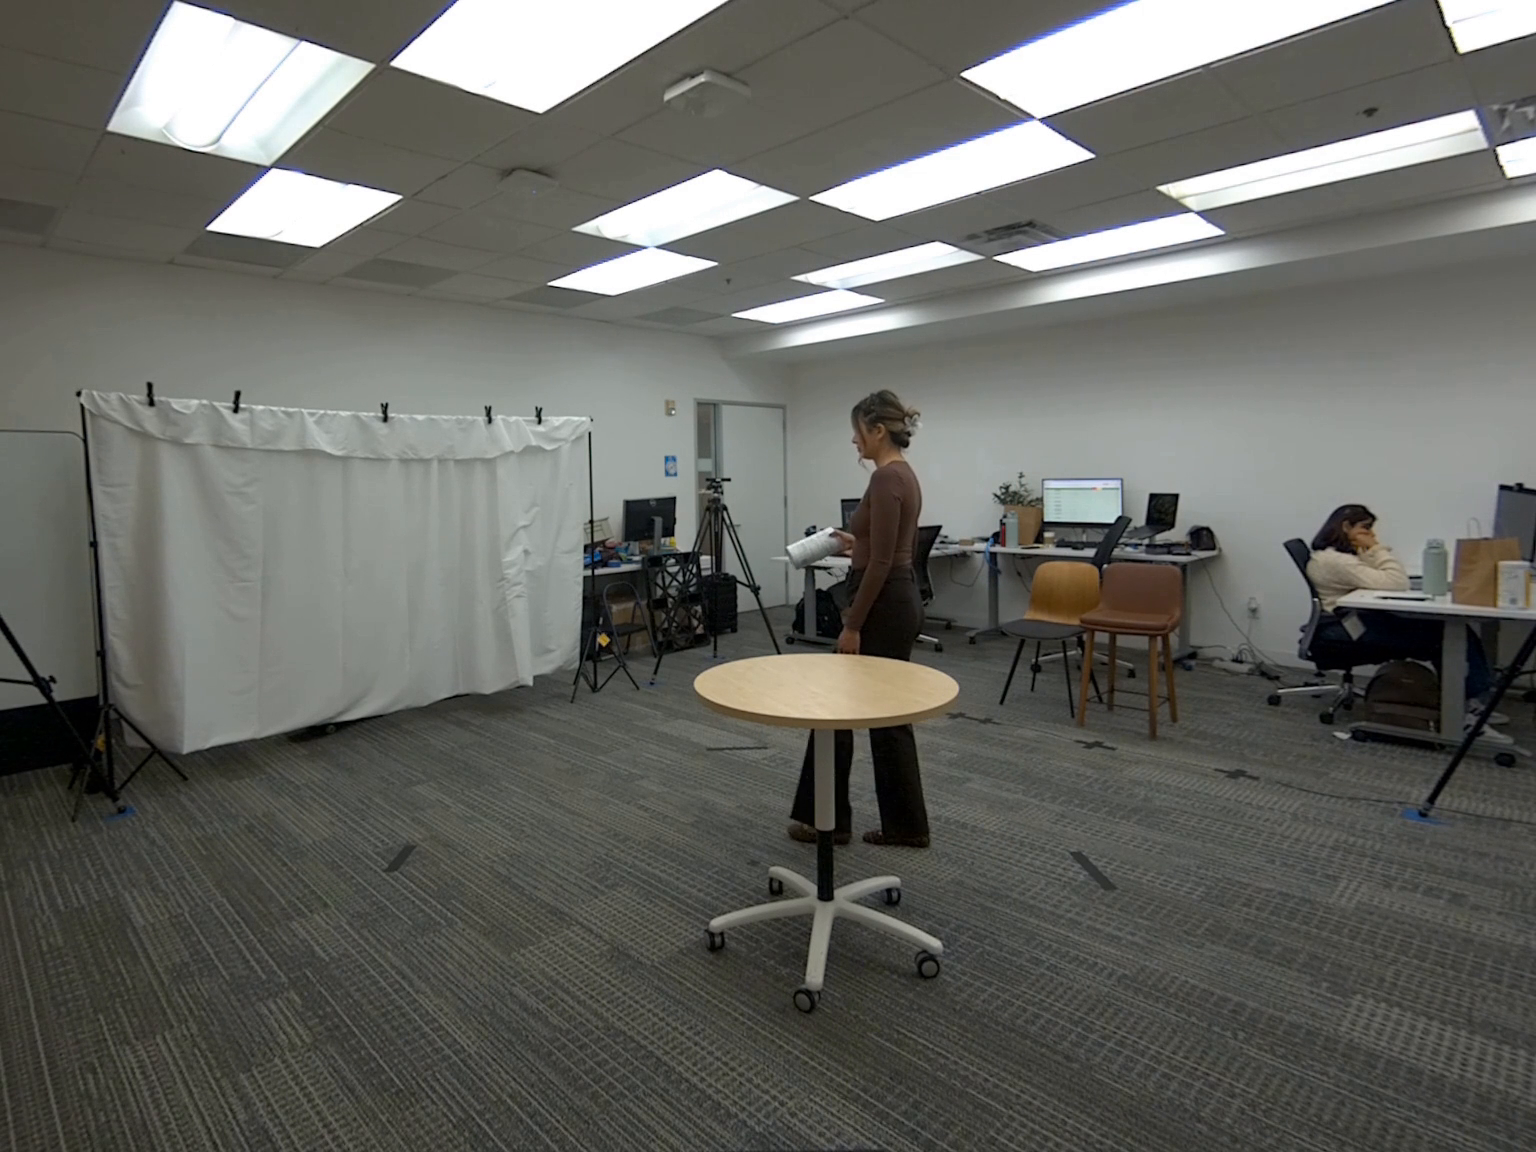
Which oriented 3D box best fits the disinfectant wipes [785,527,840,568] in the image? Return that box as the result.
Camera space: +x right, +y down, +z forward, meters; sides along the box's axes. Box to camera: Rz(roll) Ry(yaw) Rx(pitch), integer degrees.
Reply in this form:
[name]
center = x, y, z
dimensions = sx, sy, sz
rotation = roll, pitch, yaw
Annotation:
[disinfectant wipes]
center = 0.191, -0.116, 3.615
dimensions = 0.217, 0.117, 0.119
rotation = -25, 6, -2
